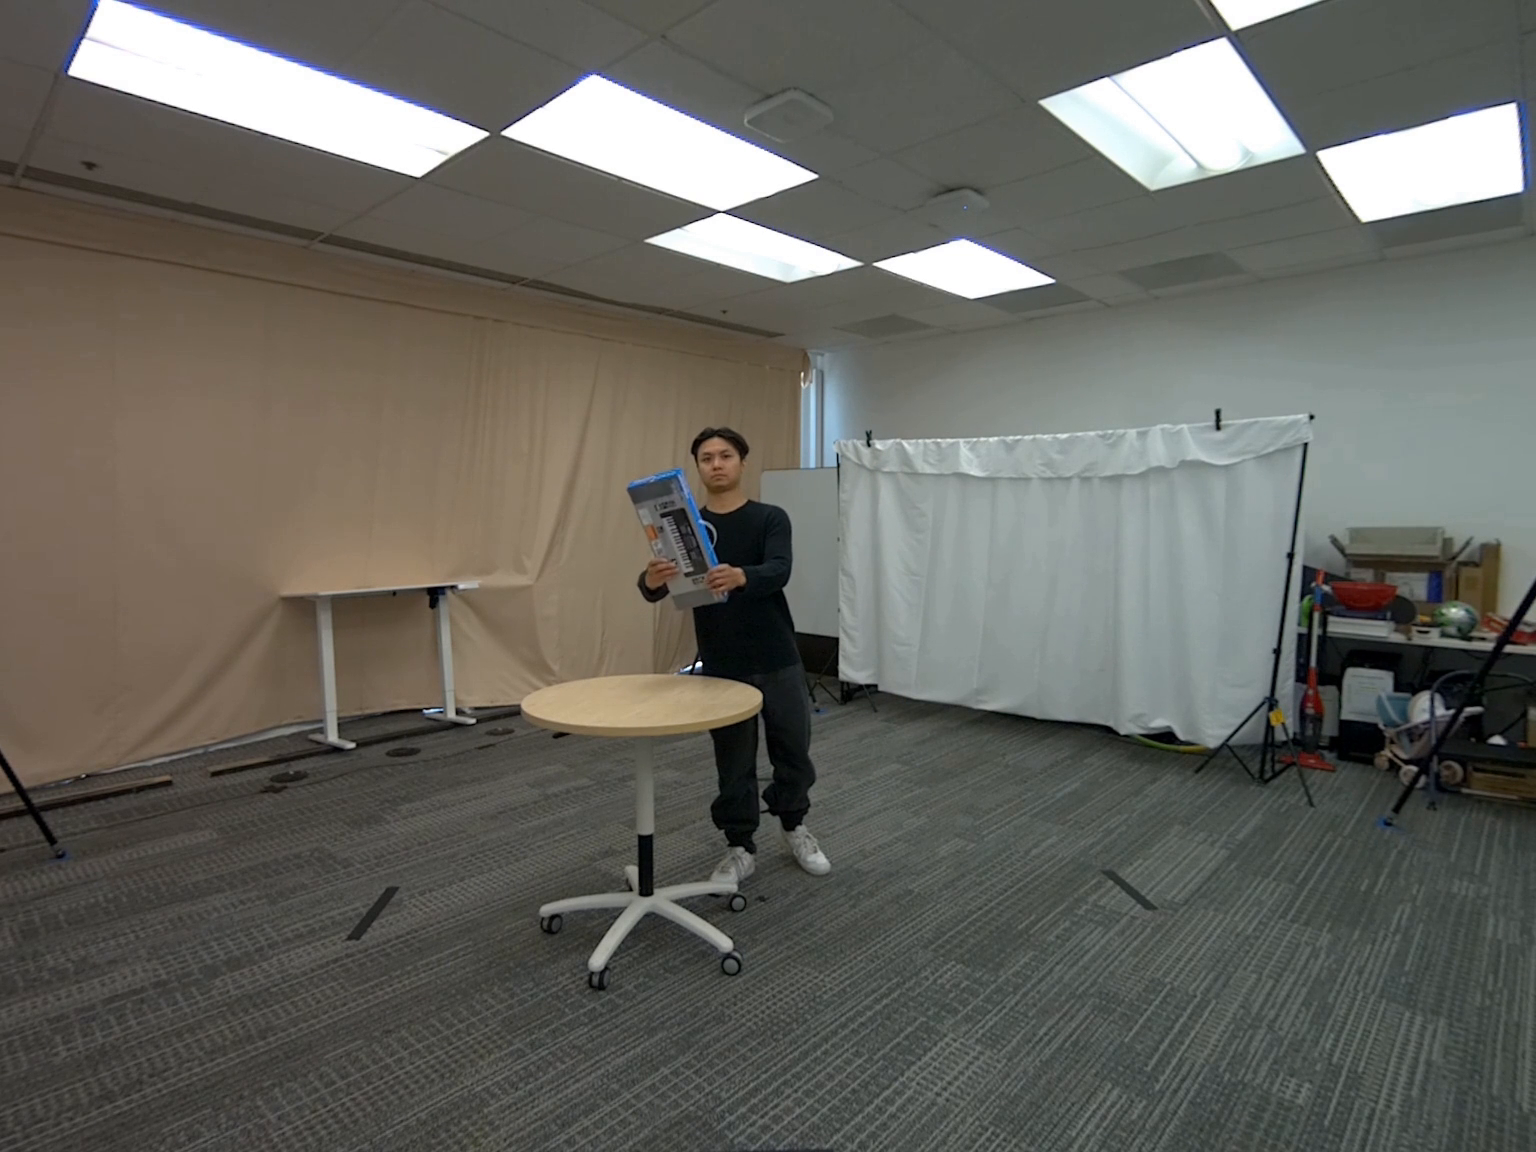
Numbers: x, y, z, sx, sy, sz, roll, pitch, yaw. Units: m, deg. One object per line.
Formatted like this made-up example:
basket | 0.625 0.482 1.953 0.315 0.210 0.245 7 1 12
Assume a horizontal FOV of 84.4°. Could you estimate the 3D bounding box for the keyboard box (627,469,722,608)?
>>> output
keyboard box | -0.275 -0.104 2.609 0.179 0.428 0.059 -13 22 19
